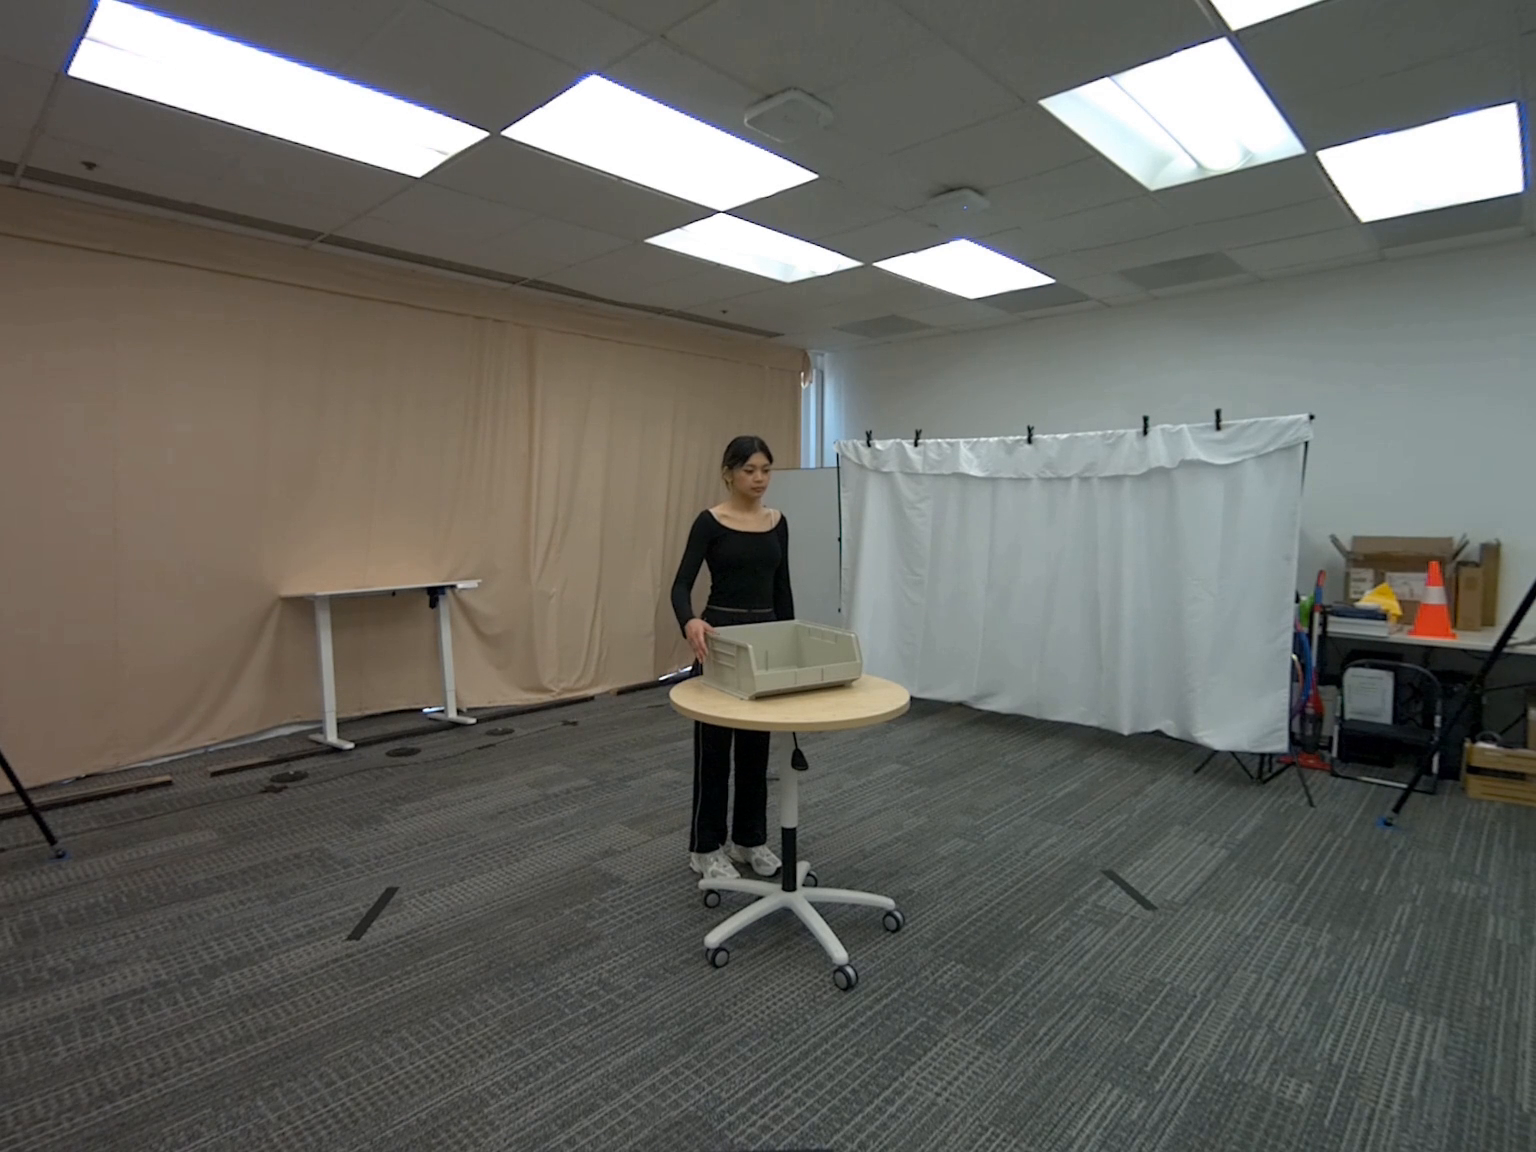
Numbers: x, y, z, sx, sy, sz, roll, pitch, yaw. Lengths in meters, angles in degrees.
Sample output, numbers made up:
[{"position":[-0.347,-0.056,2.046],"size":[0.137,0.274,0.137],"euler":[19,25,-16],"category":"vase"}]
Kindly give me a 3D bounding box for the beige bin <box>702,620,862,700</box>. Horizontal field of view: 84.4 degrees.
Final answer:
[{"position":[0.040,0.272,2.802],"size":[0.411,0.188,0.388],"euler":[-4,5,-31],"category":"beige bin"}]
